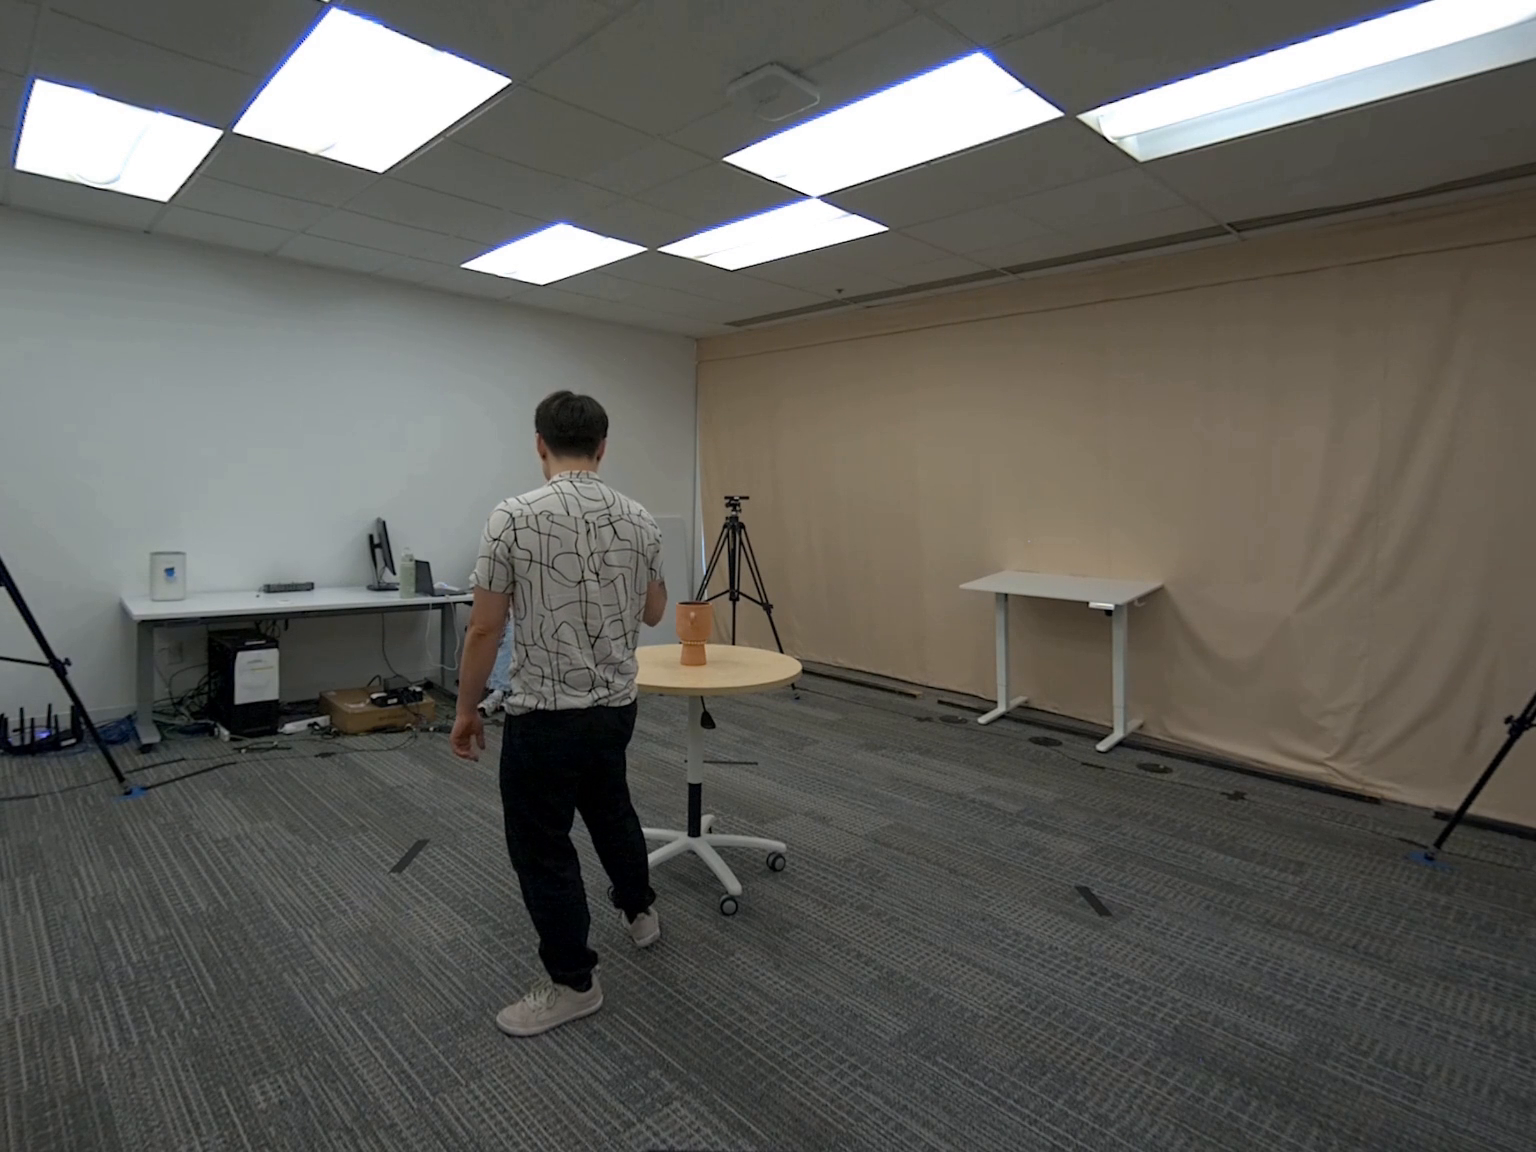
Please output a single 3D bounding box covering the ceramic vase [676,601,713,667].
[{"bbox_3d":[-0.276,0.212,3.069,0.138,0.219,0.155,5,6,37],"label":"ceramic vase"}]
